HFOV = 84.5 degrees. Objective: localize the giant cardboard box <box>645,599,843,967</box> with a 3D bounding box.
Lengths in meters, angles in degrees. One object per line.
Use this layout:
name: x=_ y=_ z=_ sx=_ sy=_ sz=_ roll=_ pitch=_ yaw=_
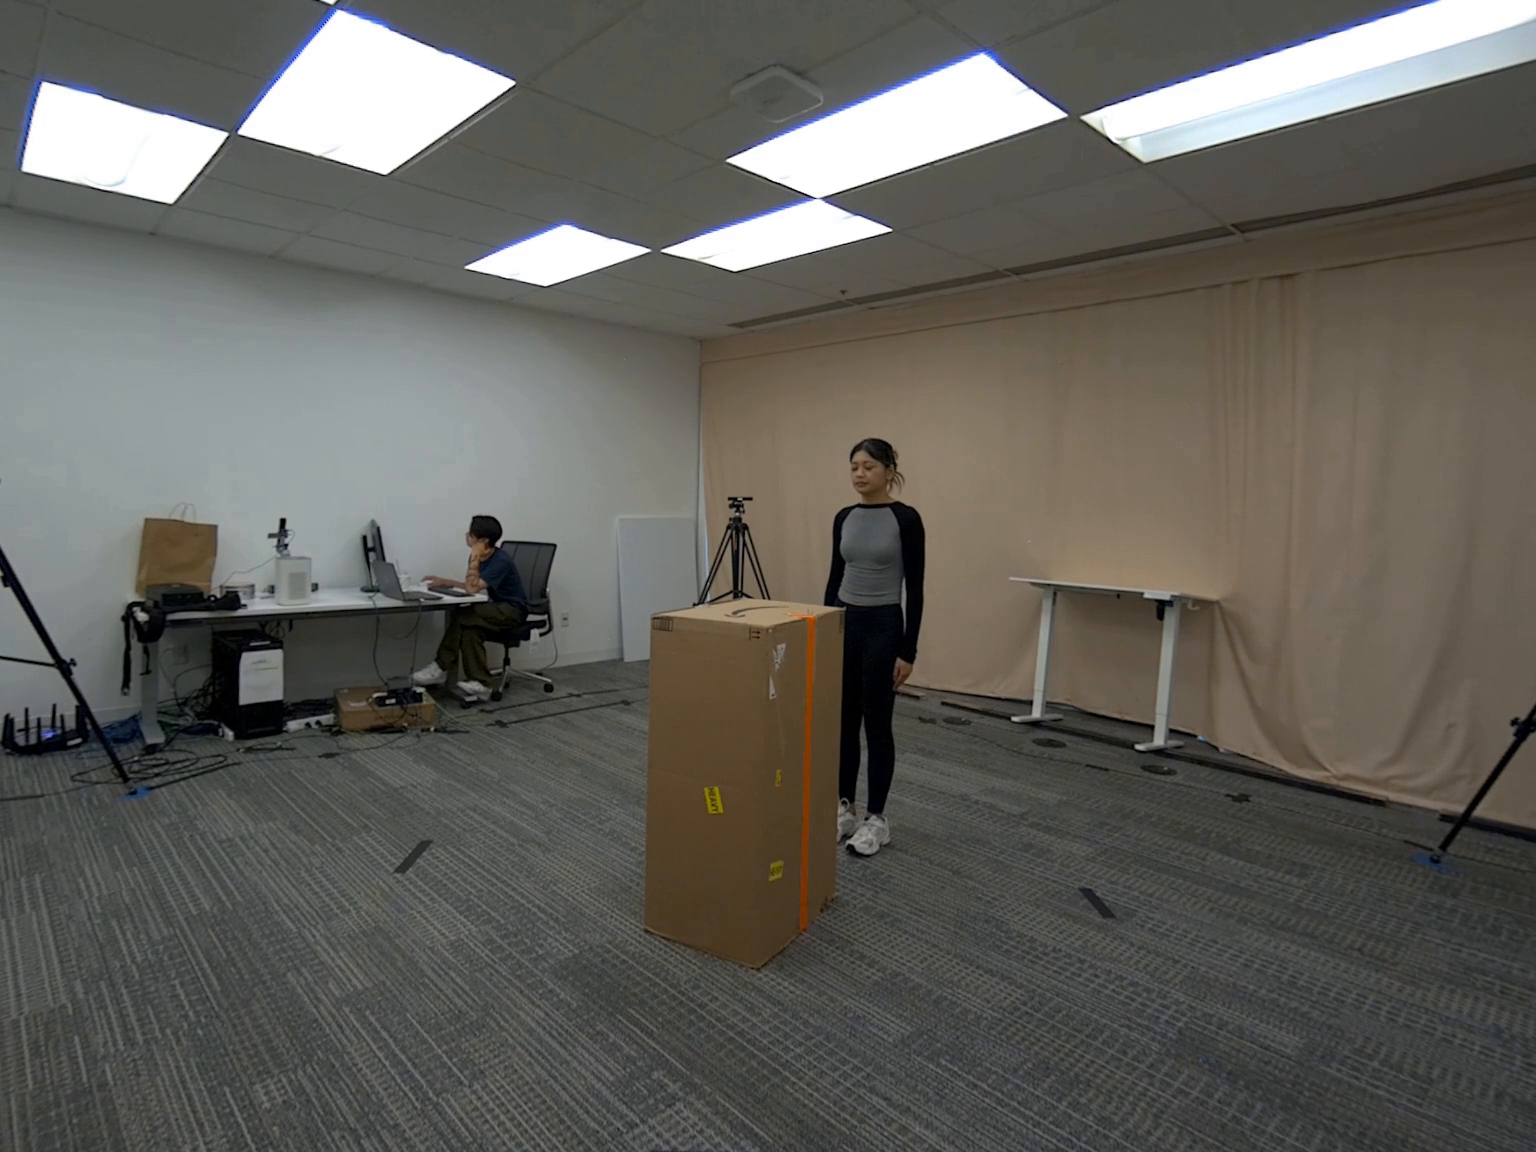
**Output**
giant cardboard box: x=-0.067 y=0.630 z=2.806 sx=0.456 sy=1.025 sz=0.573 roll=2 pitch=3 yaw=29
